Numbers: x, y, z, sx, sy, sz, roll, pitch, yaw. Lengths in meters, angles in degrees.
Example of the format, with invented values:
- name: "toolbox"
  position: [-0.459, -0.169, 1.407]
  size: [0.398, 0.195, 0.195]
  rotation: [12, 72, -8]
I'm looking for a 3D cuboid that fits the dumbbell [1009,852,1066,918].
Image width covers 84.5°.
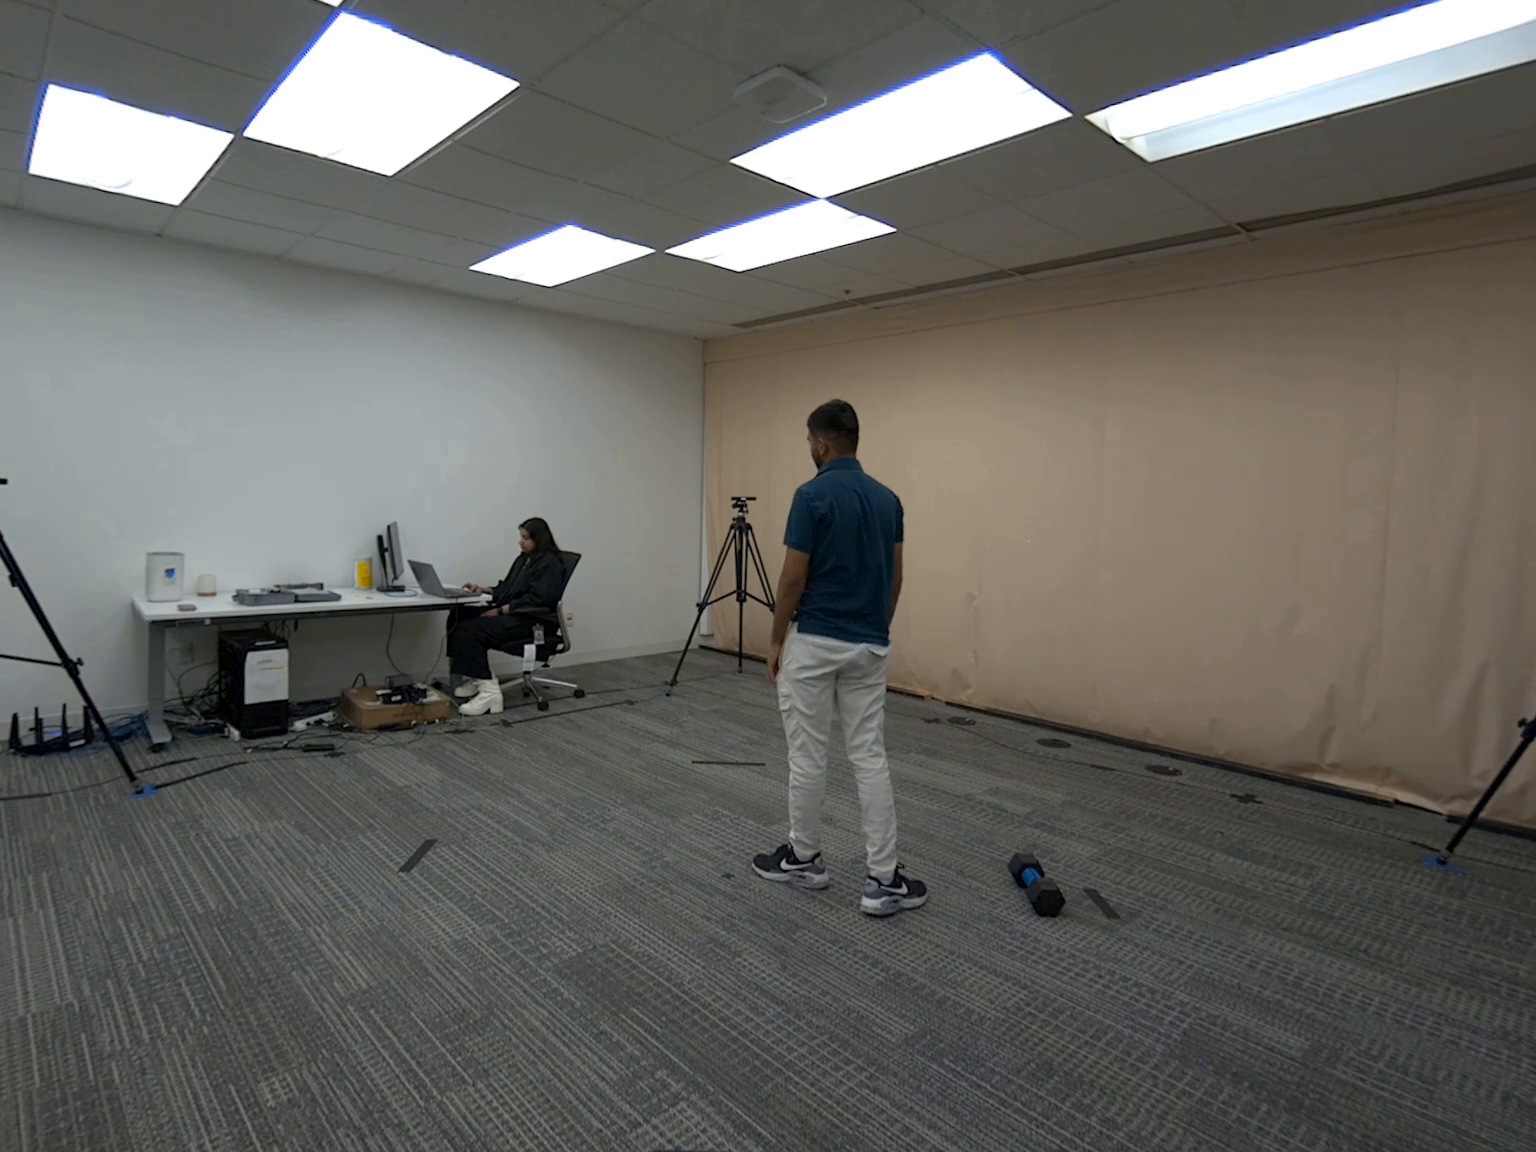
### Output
- name: "dumbbell"
  position: [0.942, 1.093, 2.994]
  size: [0.123, 0.108, 0.294]
  rotation: [-1, 4, 1]
